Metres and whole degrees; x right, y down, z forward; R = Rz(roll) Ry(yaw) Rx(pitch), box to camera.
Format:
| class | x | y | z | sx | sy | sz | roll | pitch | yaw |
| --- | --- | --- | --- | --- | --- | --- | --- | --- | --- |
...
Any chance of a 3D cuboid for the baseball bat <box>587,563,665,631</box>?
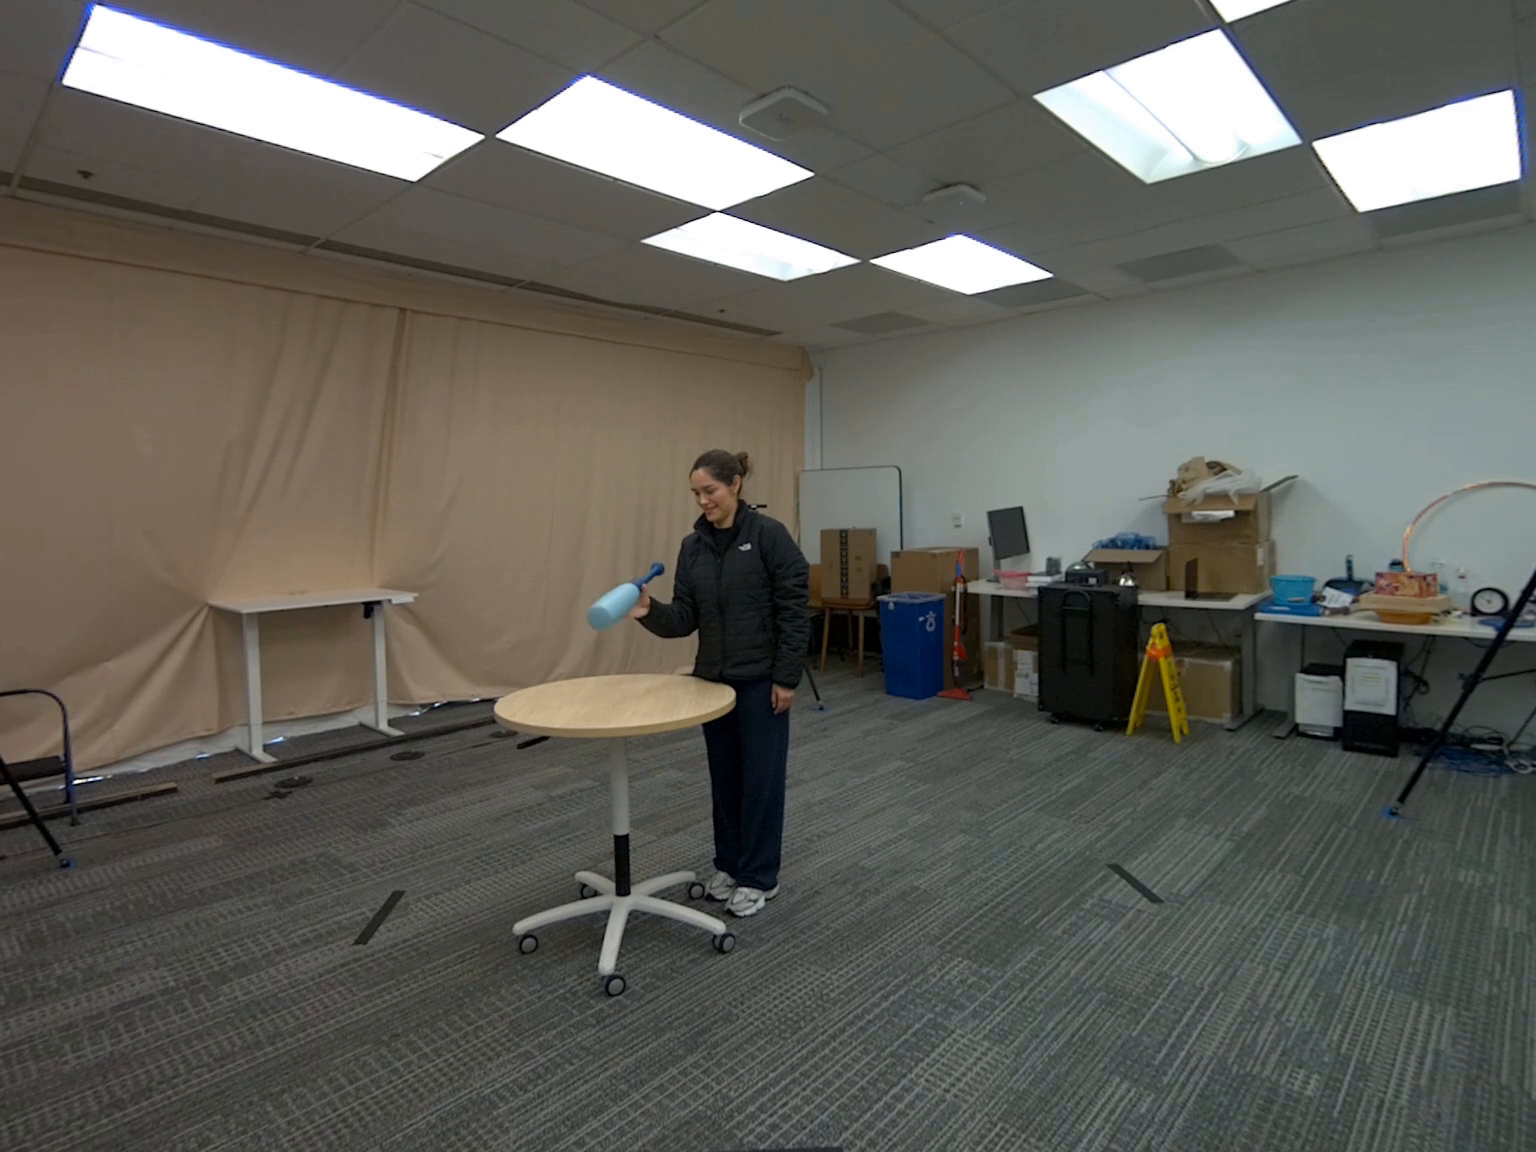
| class | x | y | z | sx | sy | sz | roll | pitch | yaw |
| --- | --- | --- | --- | --- | --- | --- | --- | --- | --- |
| baseball bat | -0.429 | 0.053 | 2.735 | 0.090 | 0.088 | 0.541 | 0 | 16 | 10 |
